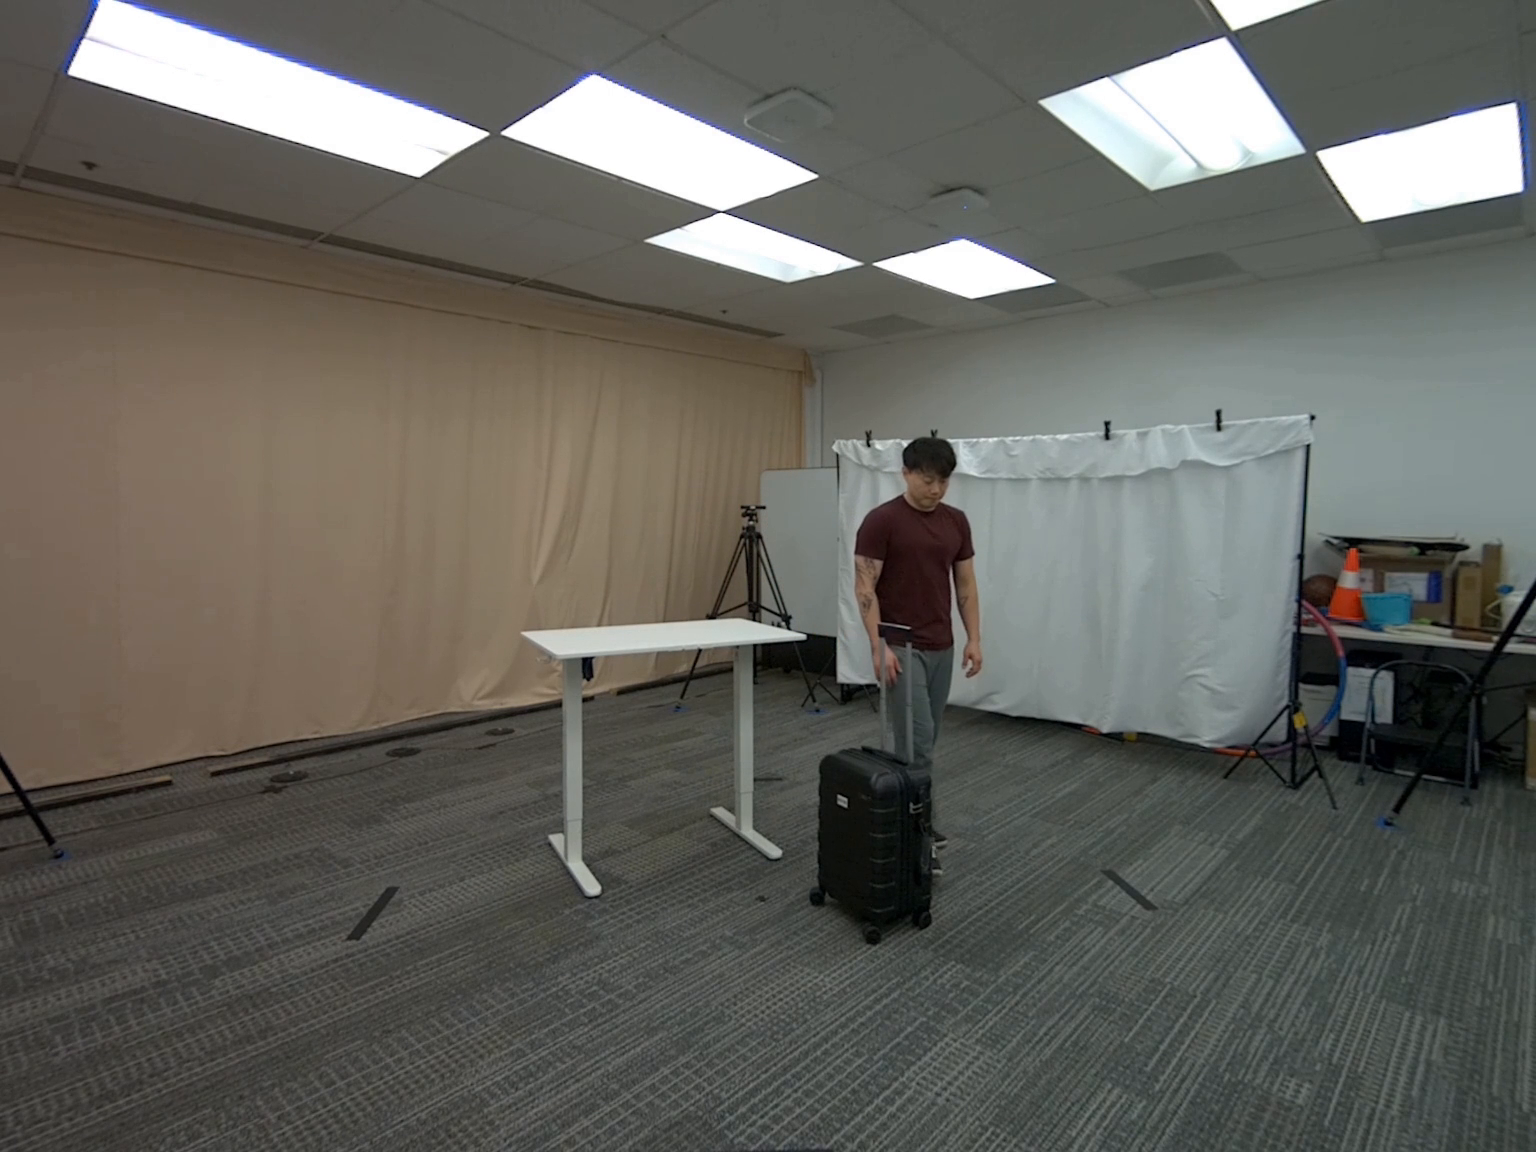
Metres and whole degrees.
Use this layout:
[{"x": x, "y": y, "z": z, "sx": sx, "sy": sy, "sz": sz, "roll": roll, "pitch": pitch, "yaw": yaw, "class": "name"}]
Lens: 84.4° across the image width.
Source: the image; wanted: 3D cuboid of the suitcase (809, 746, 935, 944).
[{"x": 0.360, "y": 0.676, "z": 2.841, "sx": 0.250, "sy": 0.977, "sz": 0.395, "roll": -2, "pitch": 4, "yaw": -29, "class": "suitcase"}]
